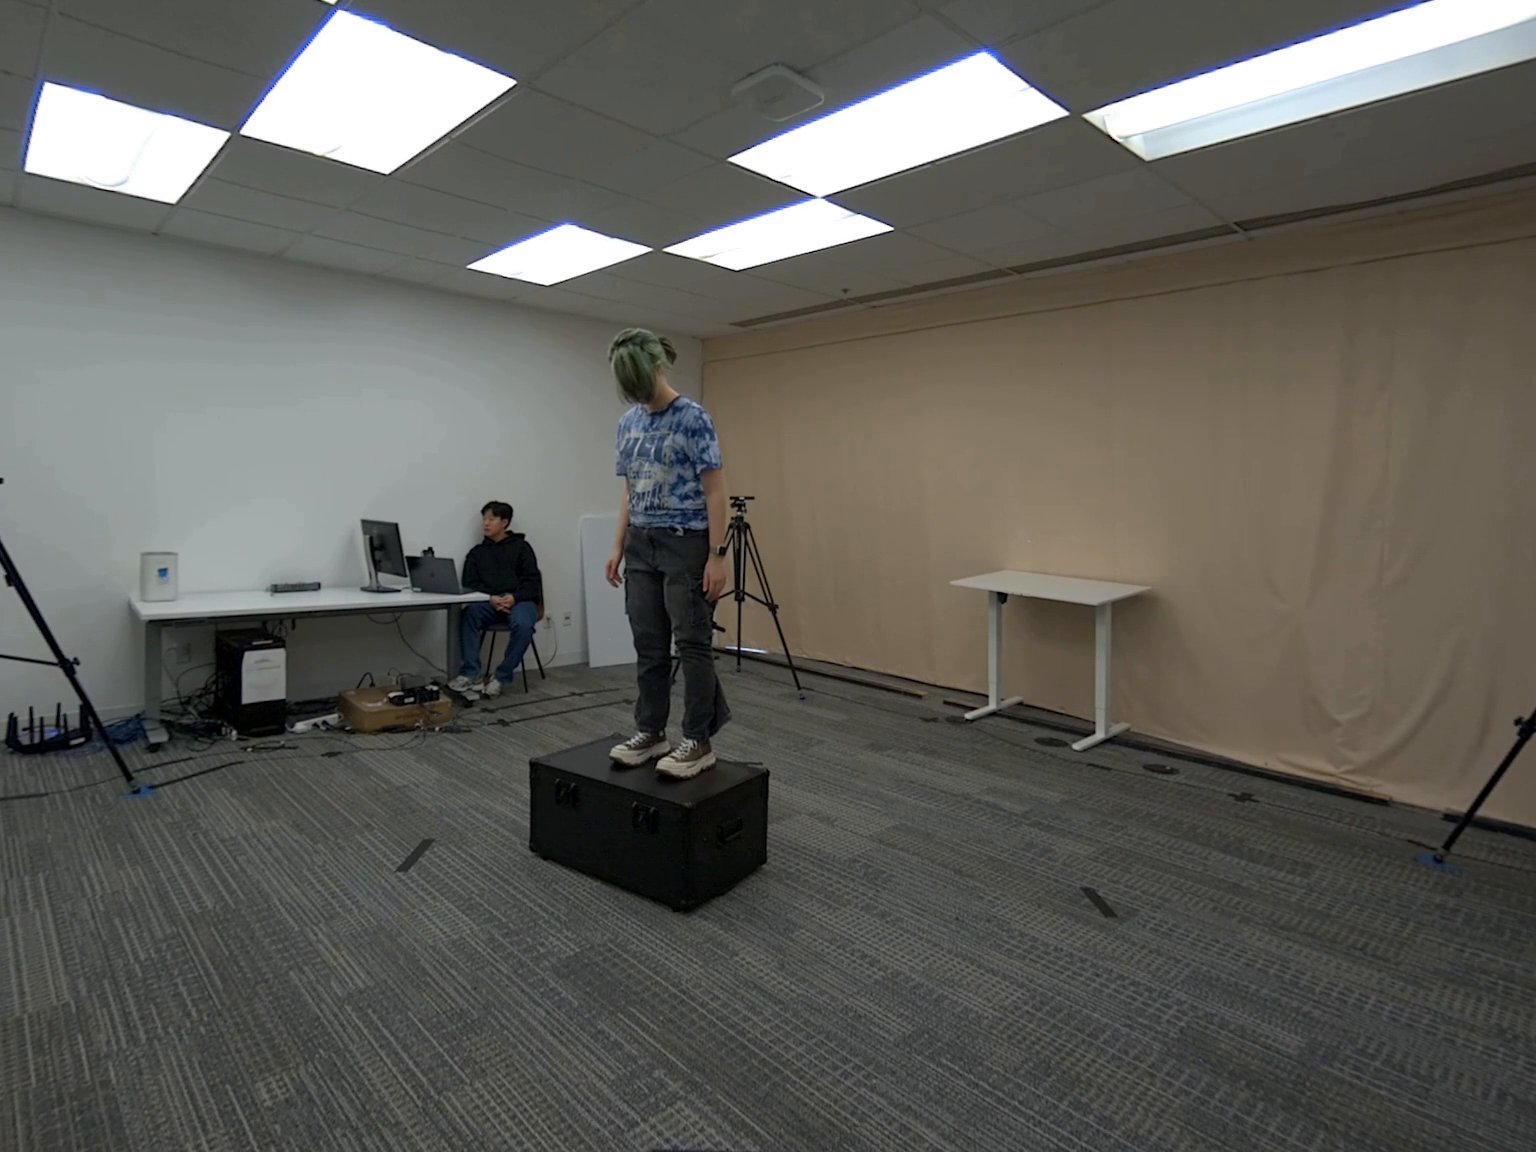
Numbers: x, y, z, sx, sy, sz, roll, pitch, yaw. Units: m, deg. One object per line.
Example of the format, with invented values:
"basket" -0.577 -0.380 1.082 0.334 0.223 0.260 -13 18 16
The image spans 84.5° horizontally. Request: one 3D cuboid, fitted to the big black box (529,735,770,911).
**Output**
"big black box" -0.488 0.899 3.206 0.882 0.395 0.510 5 6 35
